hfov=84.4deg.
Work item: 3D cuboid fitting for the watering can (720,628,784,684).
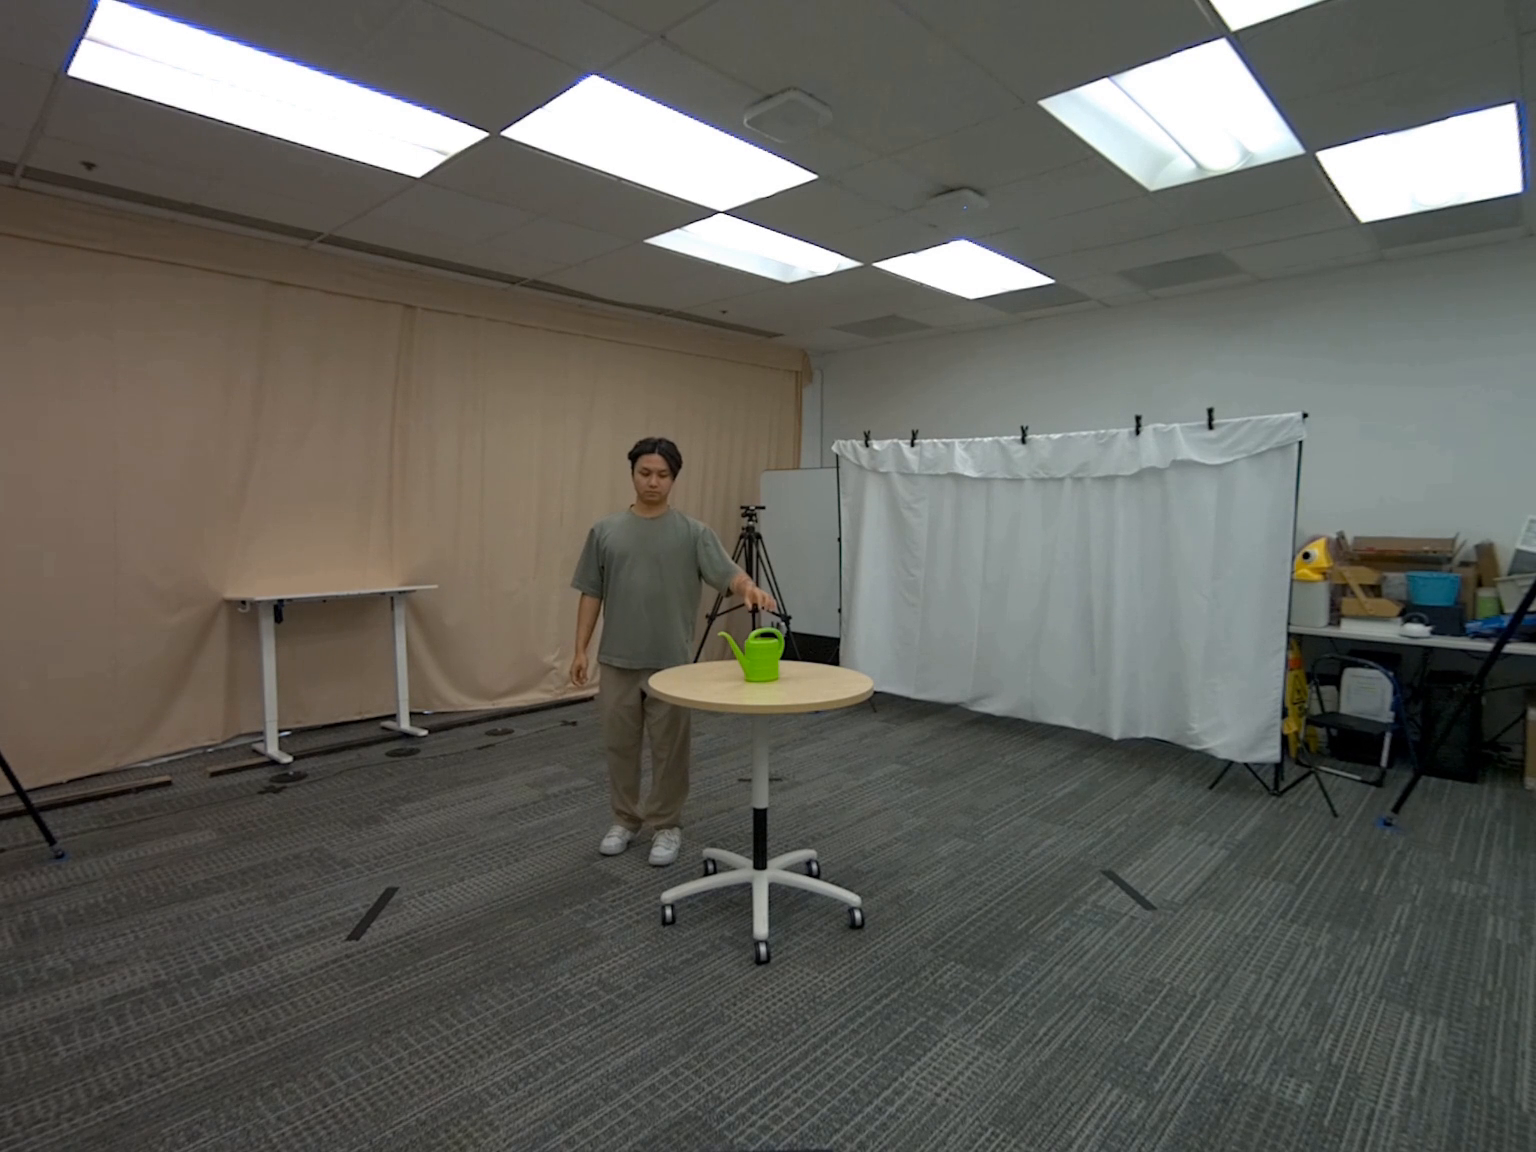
[{"bbox_3d":[-0.059,0.268,2.867,0.272,0.177,0.100,0,1,-23],"label":"watering can"}]
